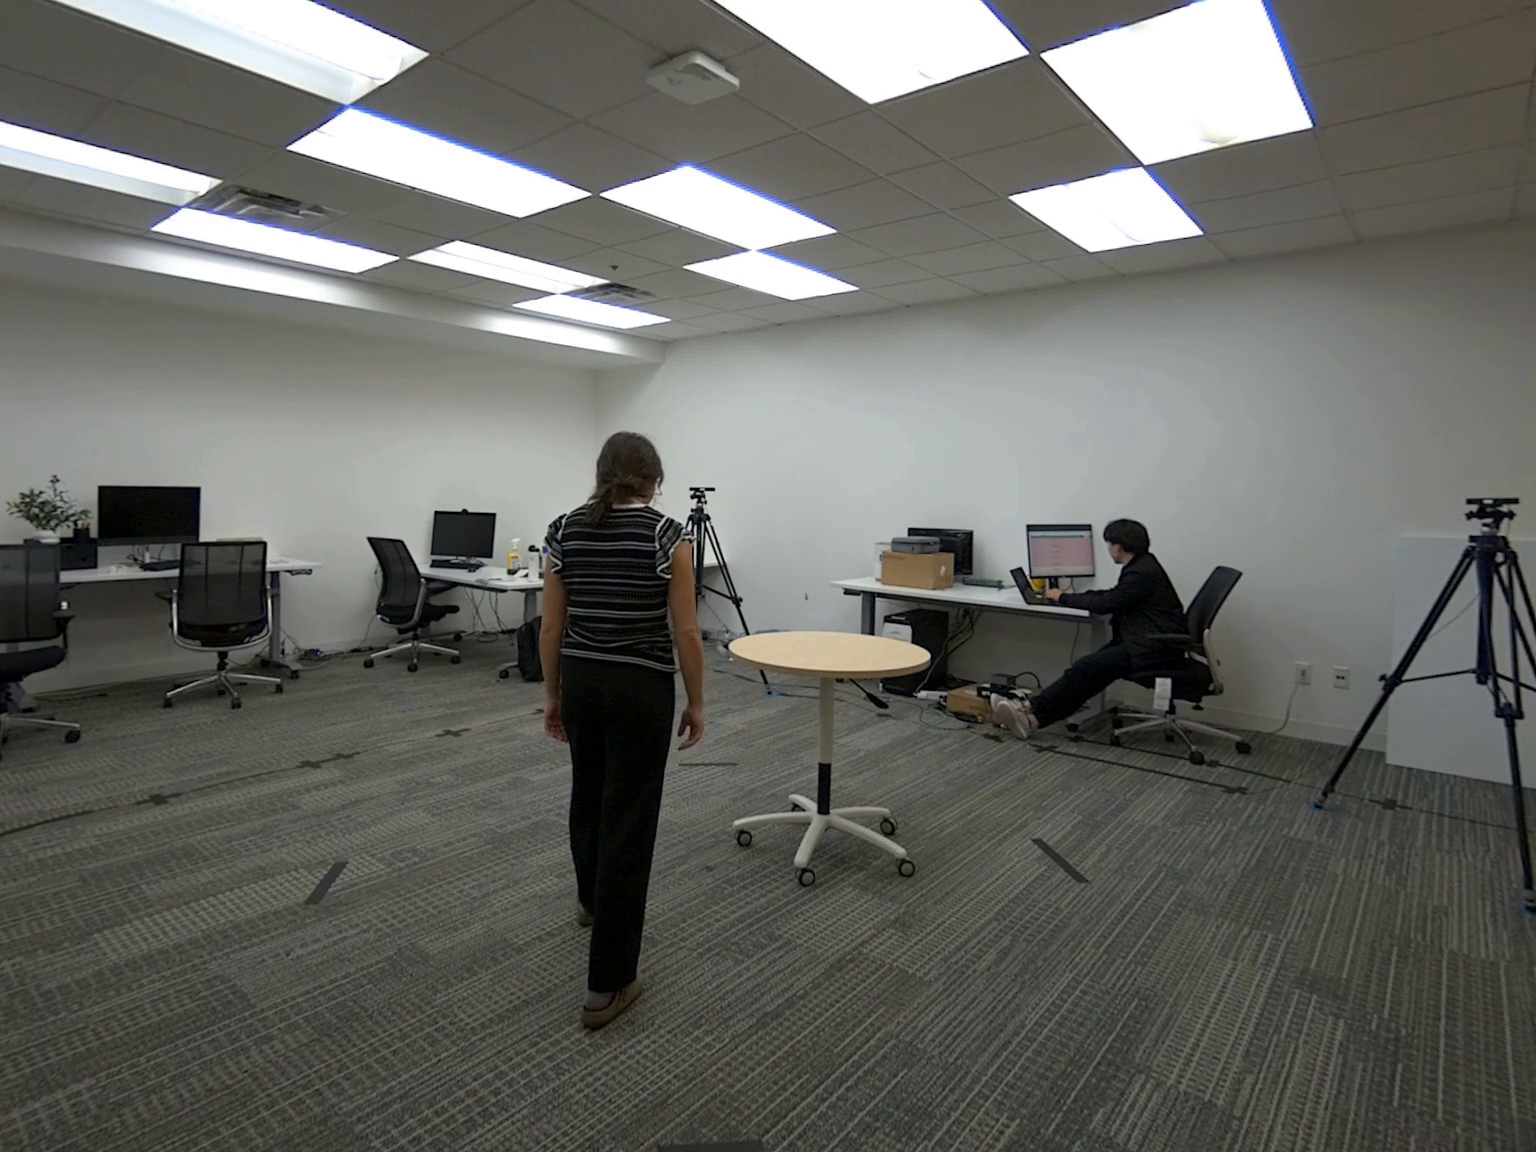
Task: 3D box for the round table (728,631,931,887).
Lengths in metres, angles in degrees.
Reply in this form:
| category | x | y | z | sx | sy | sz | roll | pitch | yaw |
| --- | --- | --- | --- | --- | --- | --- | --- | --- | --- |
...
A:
| category | x | y | z | sx | sy | sz | roll | pitch | yaw |
| --- | --- | --- | --- | --- | --- | --- | --- | --- | --- |
| round table | 0.215 | 0.670 | 3.294 | 0.763 | 0.791 | 0.768 | 1 | 5 | -2 |
